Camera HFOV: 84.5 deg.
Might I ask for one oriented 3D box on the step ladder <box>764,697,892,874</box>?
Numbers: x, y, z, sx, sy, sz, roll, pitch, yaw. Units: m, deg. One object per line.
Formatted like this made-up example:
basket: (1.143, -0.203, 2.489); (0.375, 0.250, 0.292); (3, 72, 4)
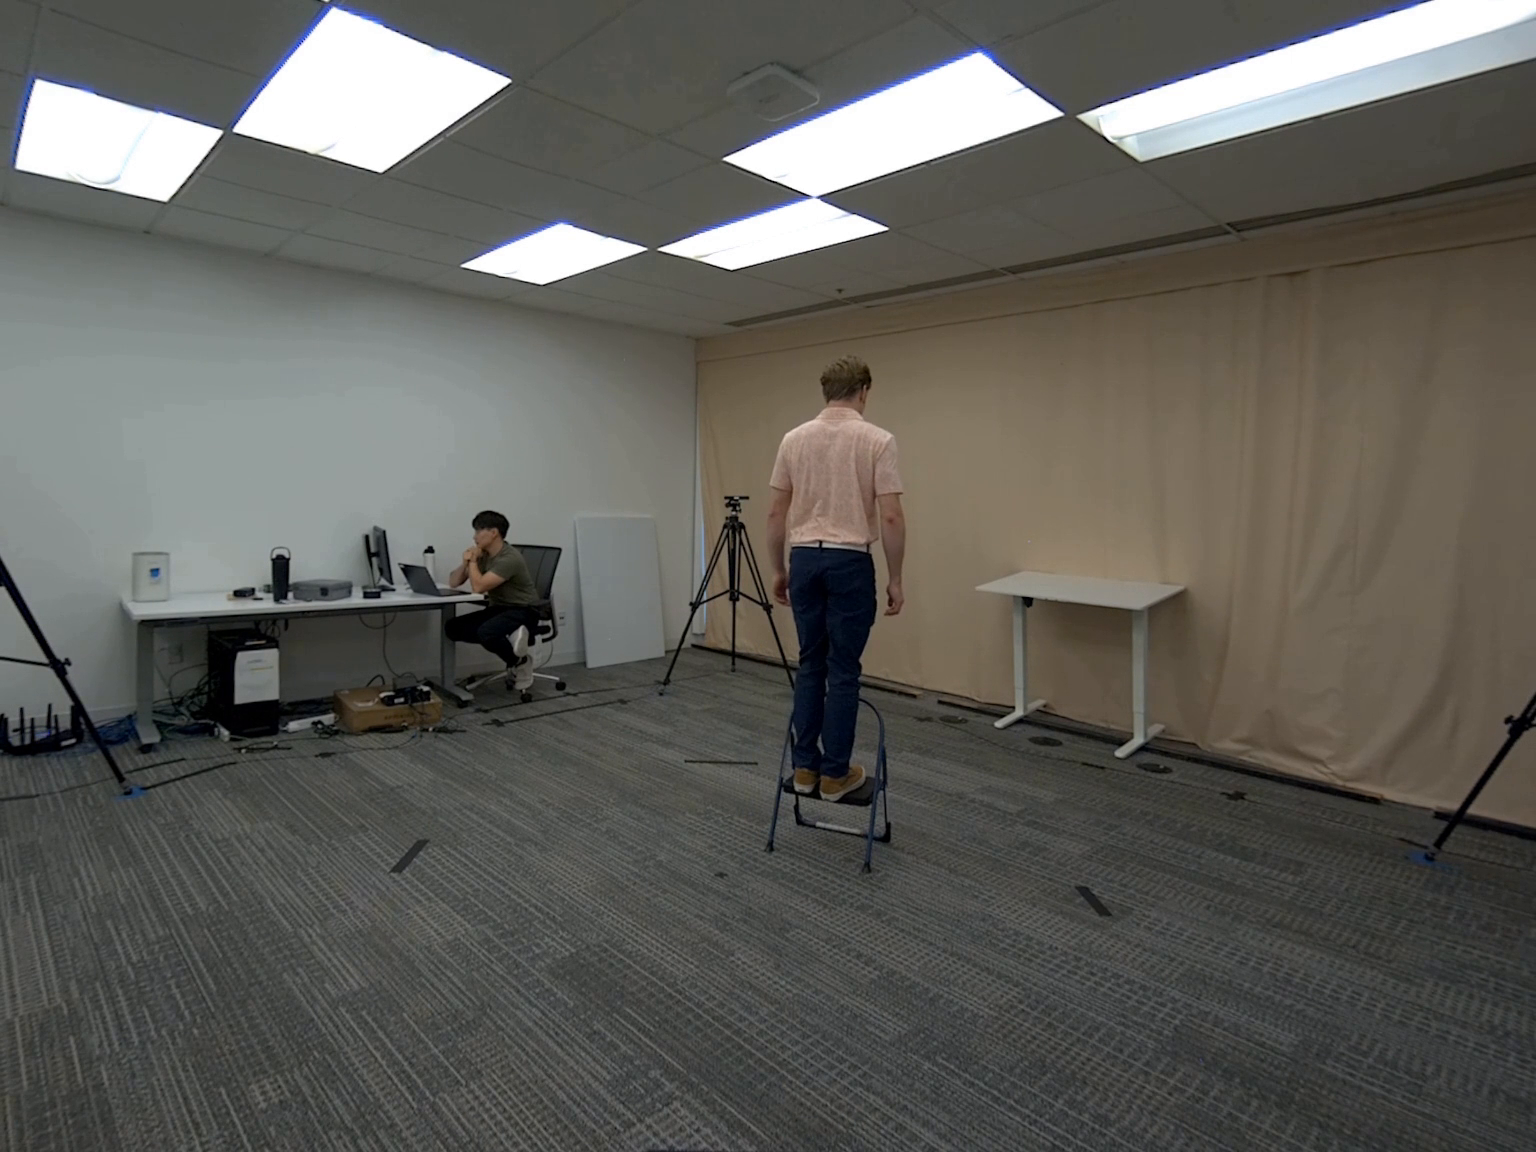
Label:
step ladder: (0.255, 0.788, 3.379); (0.439, 0.605, 0.343); (3, 3, 24)
